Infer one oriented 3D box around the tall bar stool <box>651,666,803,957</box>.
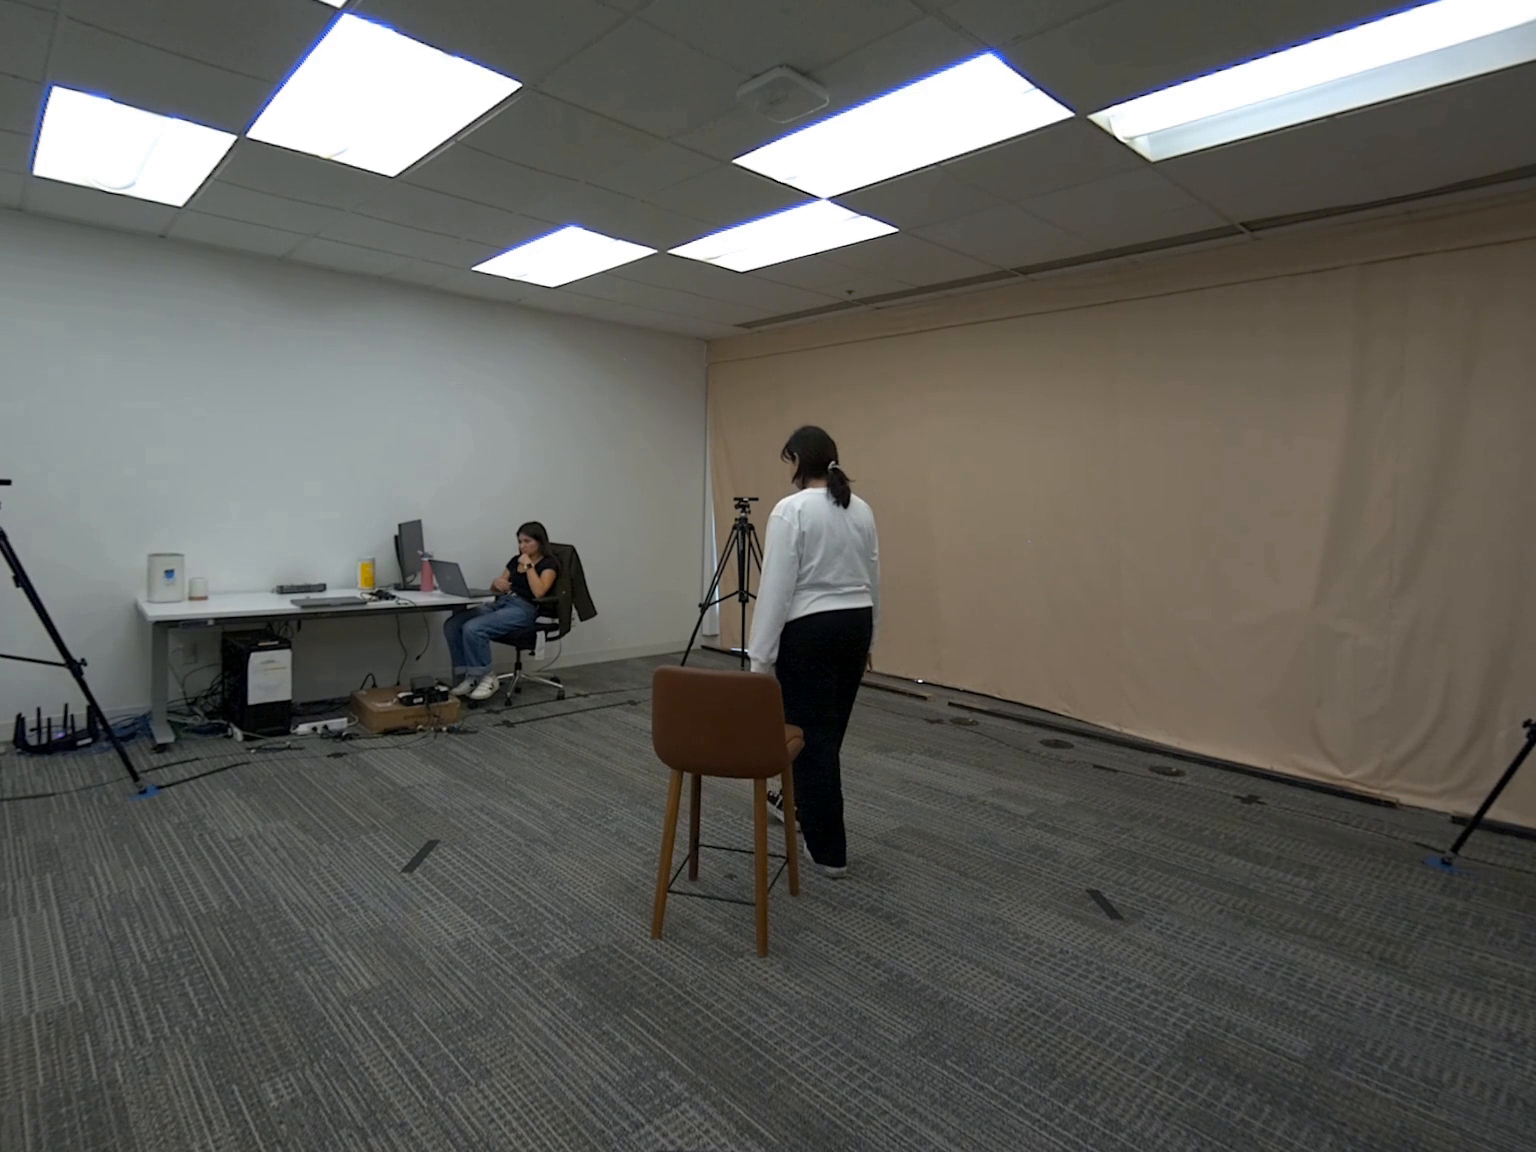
[{"bbox_3d":[-0.135,0.703,2.791,0.463,0.886,0.463,2,5,16],"label":"tall bar stool"}]
